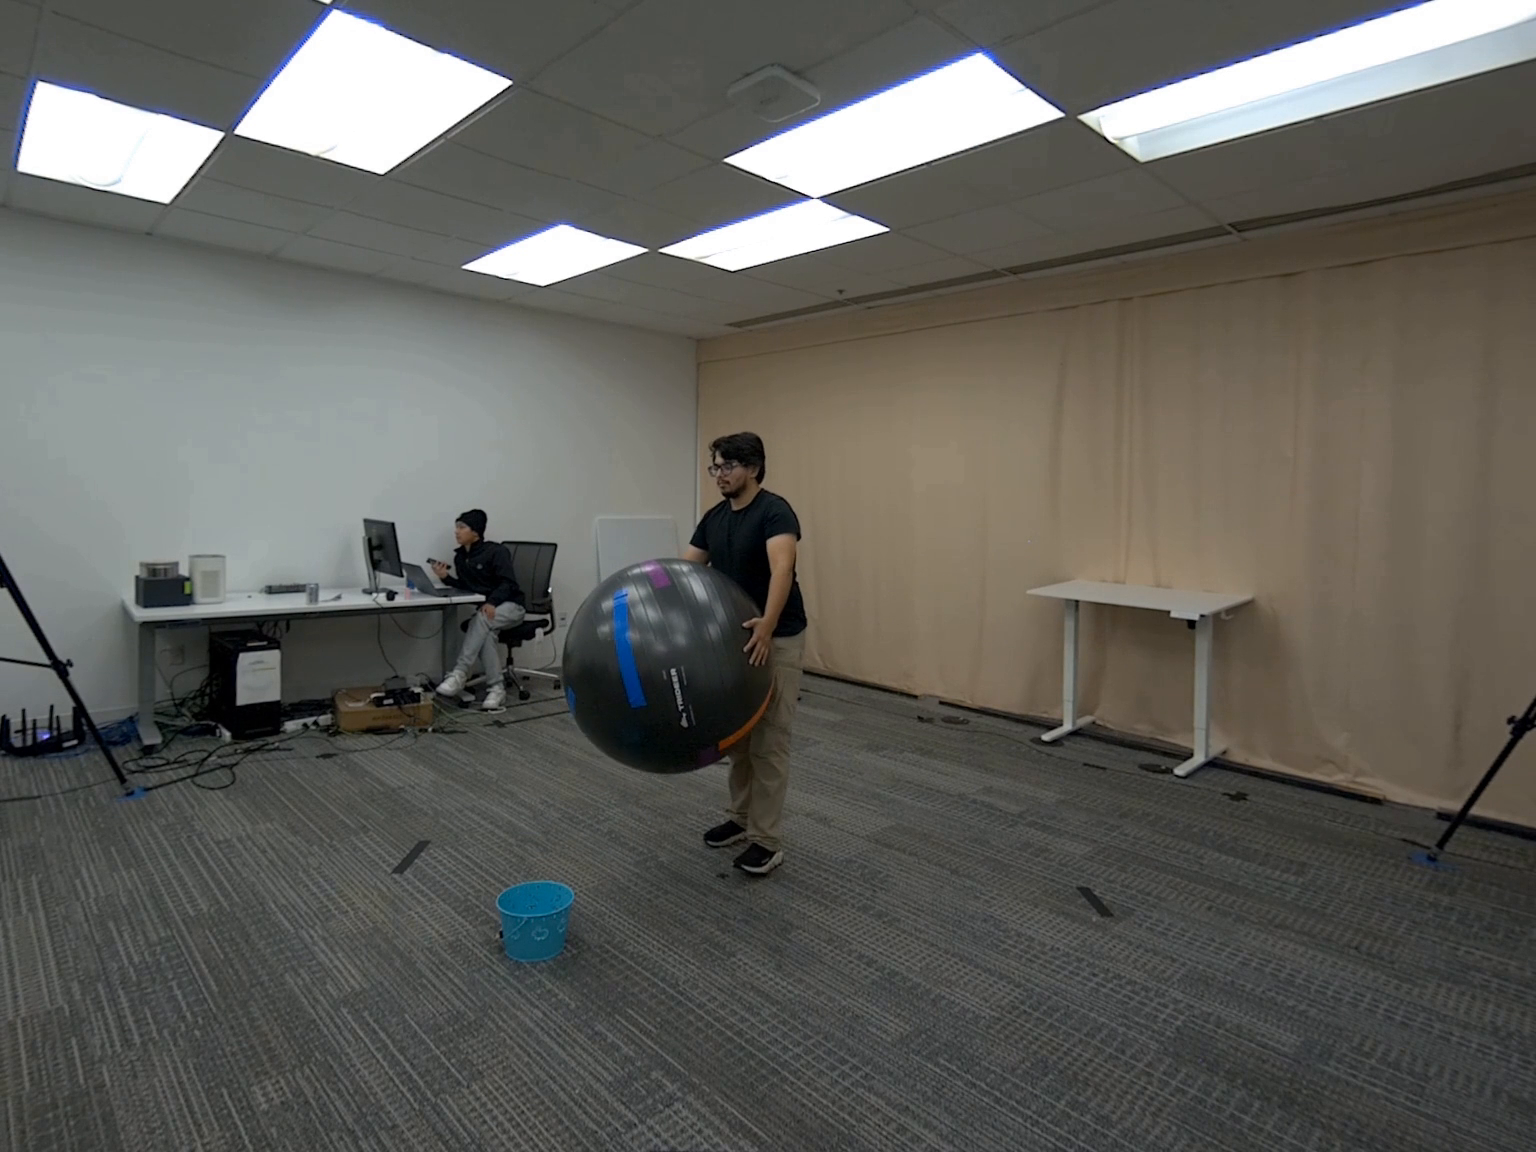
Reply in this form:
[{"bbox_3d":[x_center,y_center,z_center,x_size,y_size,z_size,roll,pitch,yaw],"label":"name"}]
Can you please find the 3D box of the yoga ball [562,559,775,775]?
[{"bbox_3d":[-0.361,0.323,3.010,0.757,0.756,0.761,1,4,-1],"label":"yoga ball"}]
